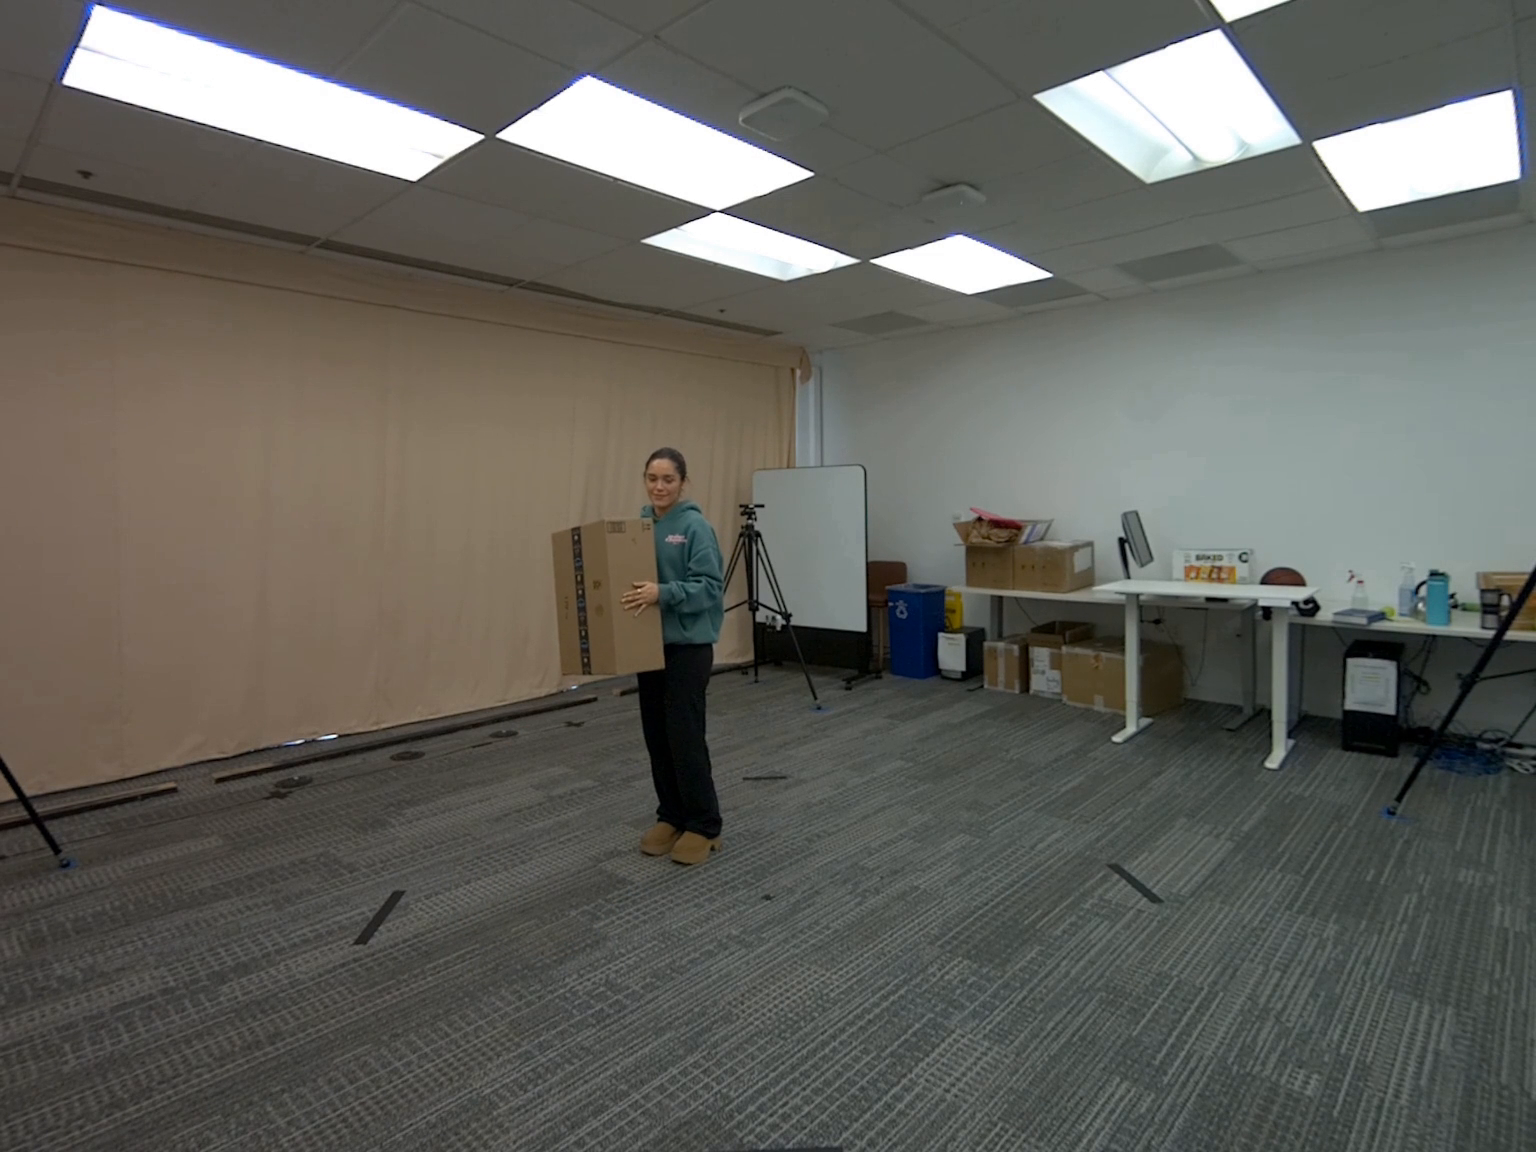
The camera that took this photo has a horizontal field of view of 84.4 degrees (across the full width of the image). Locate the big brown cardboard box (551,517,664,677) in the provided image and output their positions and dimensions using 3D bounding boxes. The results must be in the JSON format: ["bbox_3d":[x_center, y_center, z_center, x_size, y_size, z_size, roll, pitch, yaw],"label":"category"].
[{"bbox_3d":[-0.615,0.093,3.251,0.226,0.590,0.429,-4,-3,-40],"label":"big brown cardboard box"}]
